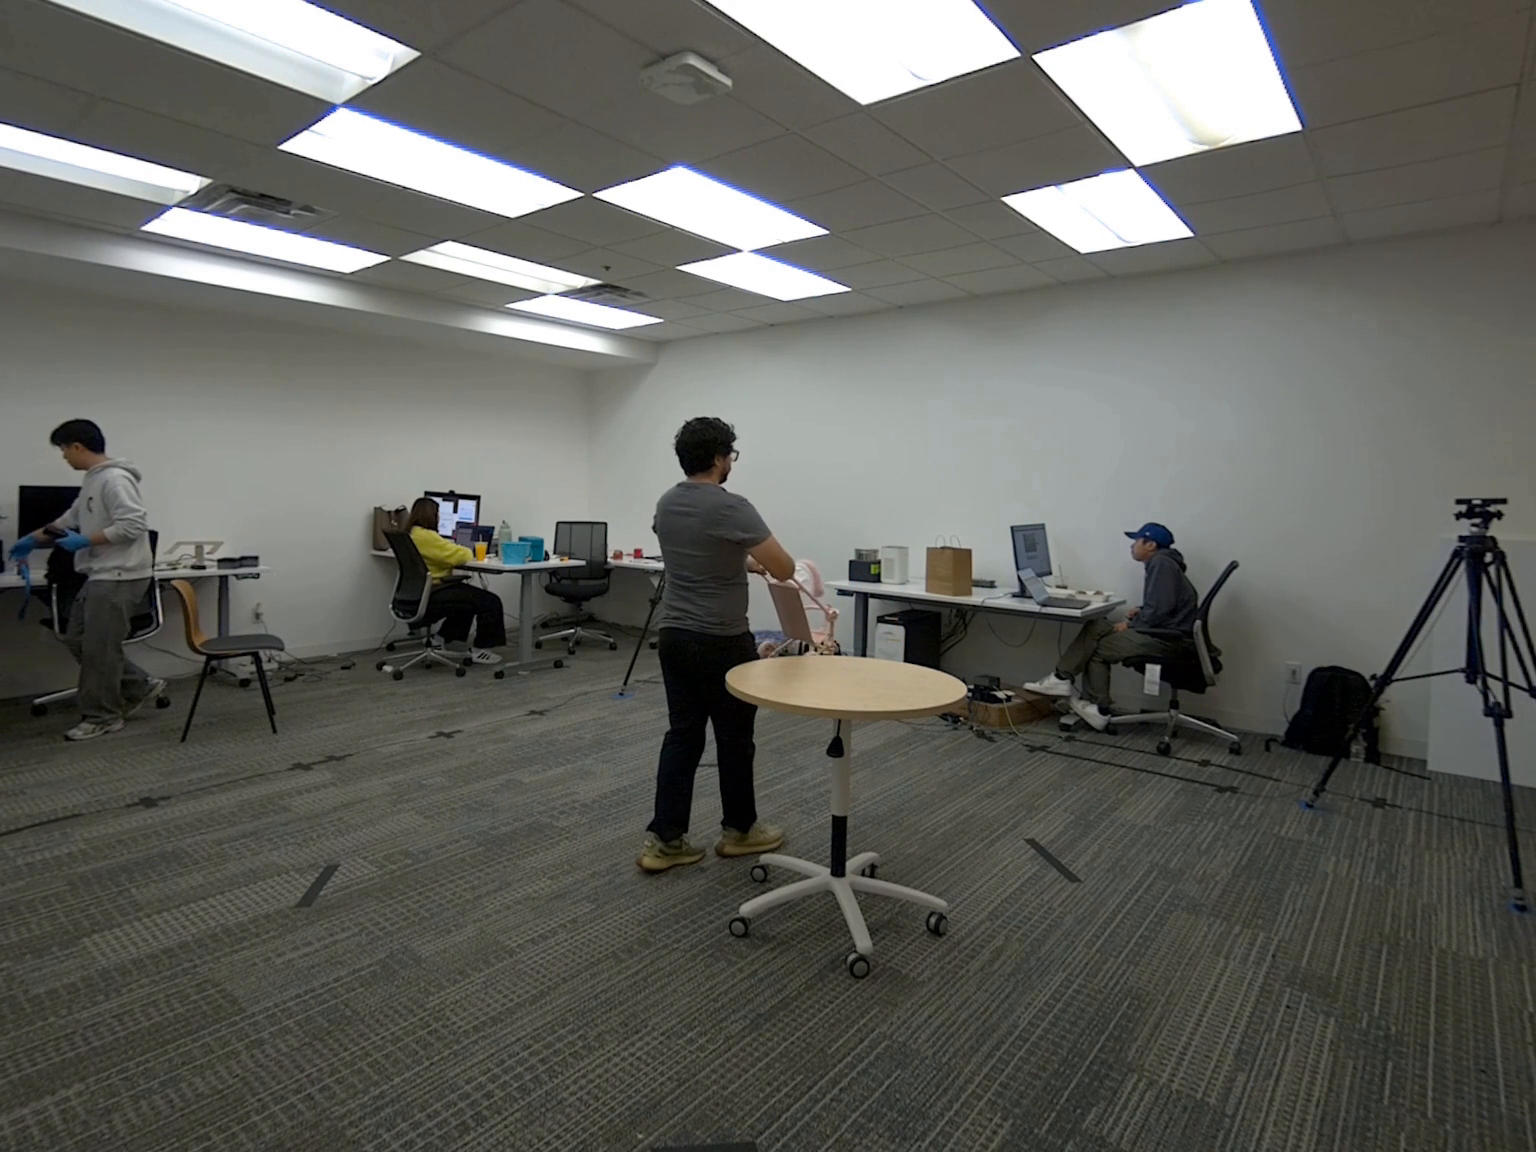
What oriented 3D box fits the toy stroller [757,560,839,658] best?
[{"bbox_3d":[0.138,0.168,3.552,0.334,0.529,0.291,-16,14,-37],"label":"toy stroller"}]
